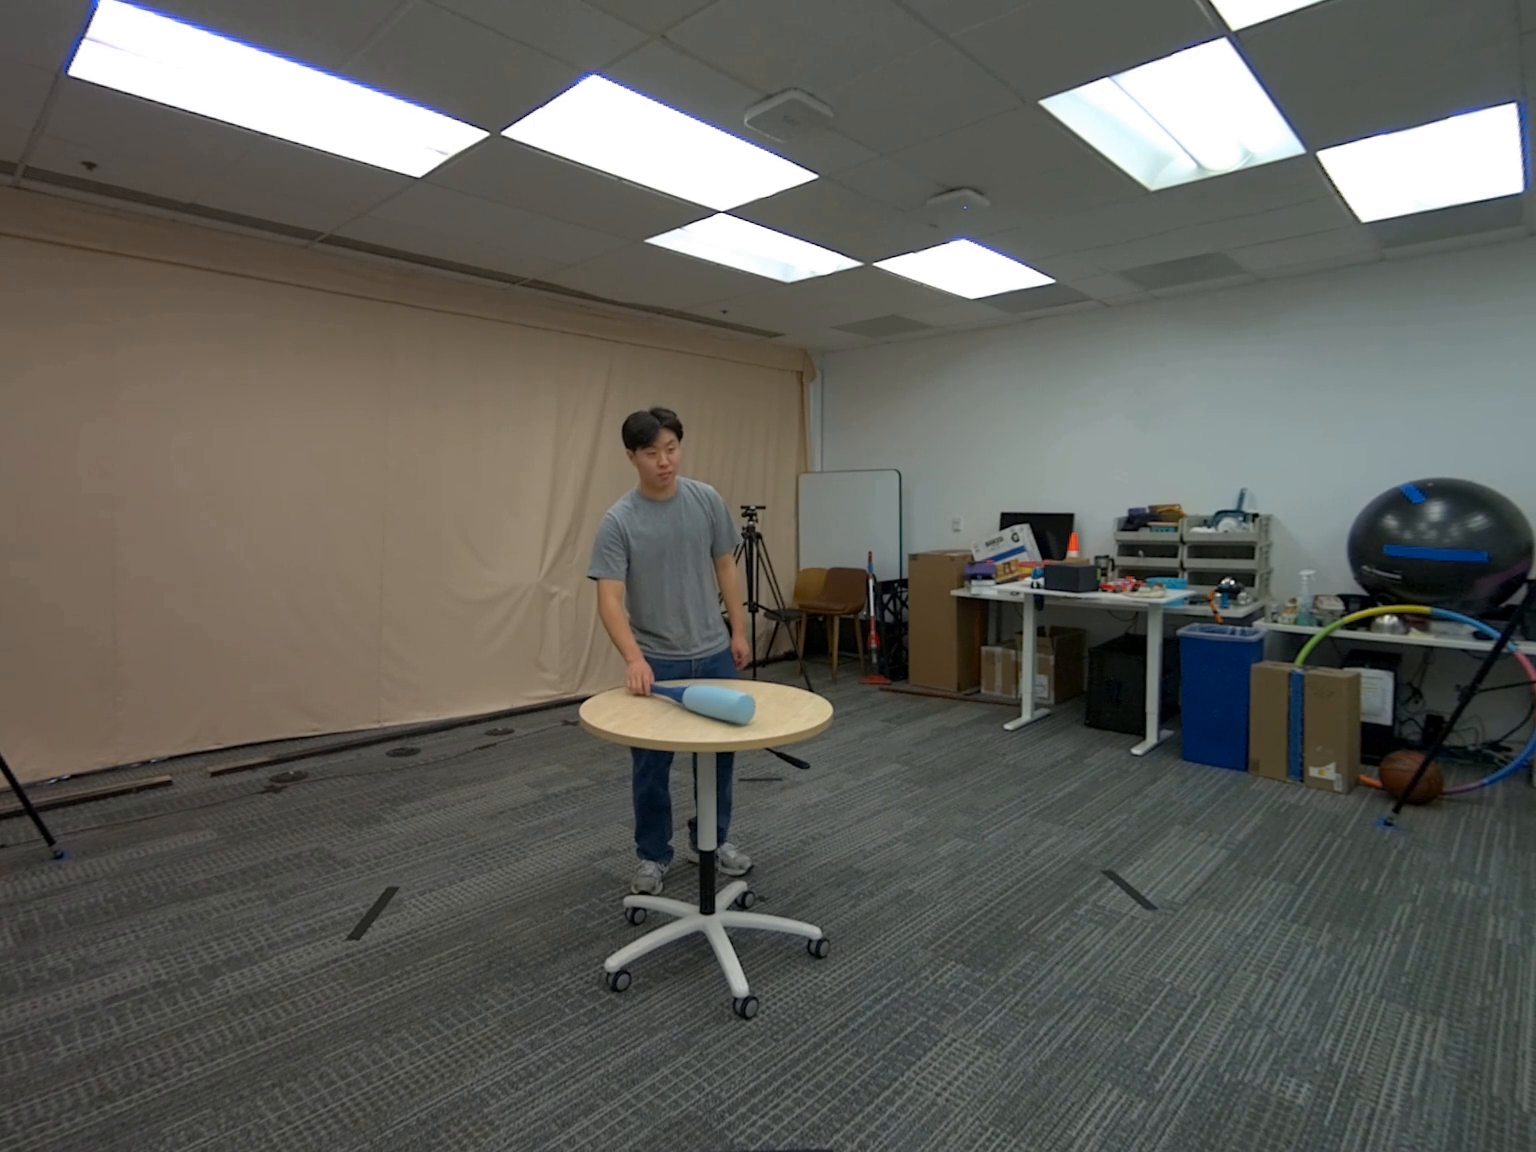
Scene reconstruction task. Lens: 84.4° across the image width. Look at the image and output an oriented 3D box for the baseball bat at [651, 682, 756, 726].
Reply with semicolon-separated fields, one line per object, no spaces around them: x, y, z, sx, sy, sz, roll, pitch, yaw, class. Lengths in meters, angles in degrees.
-0.227;0.356;2.537;0.086;0.089;0.560;-3;2;-41;baseball bat
